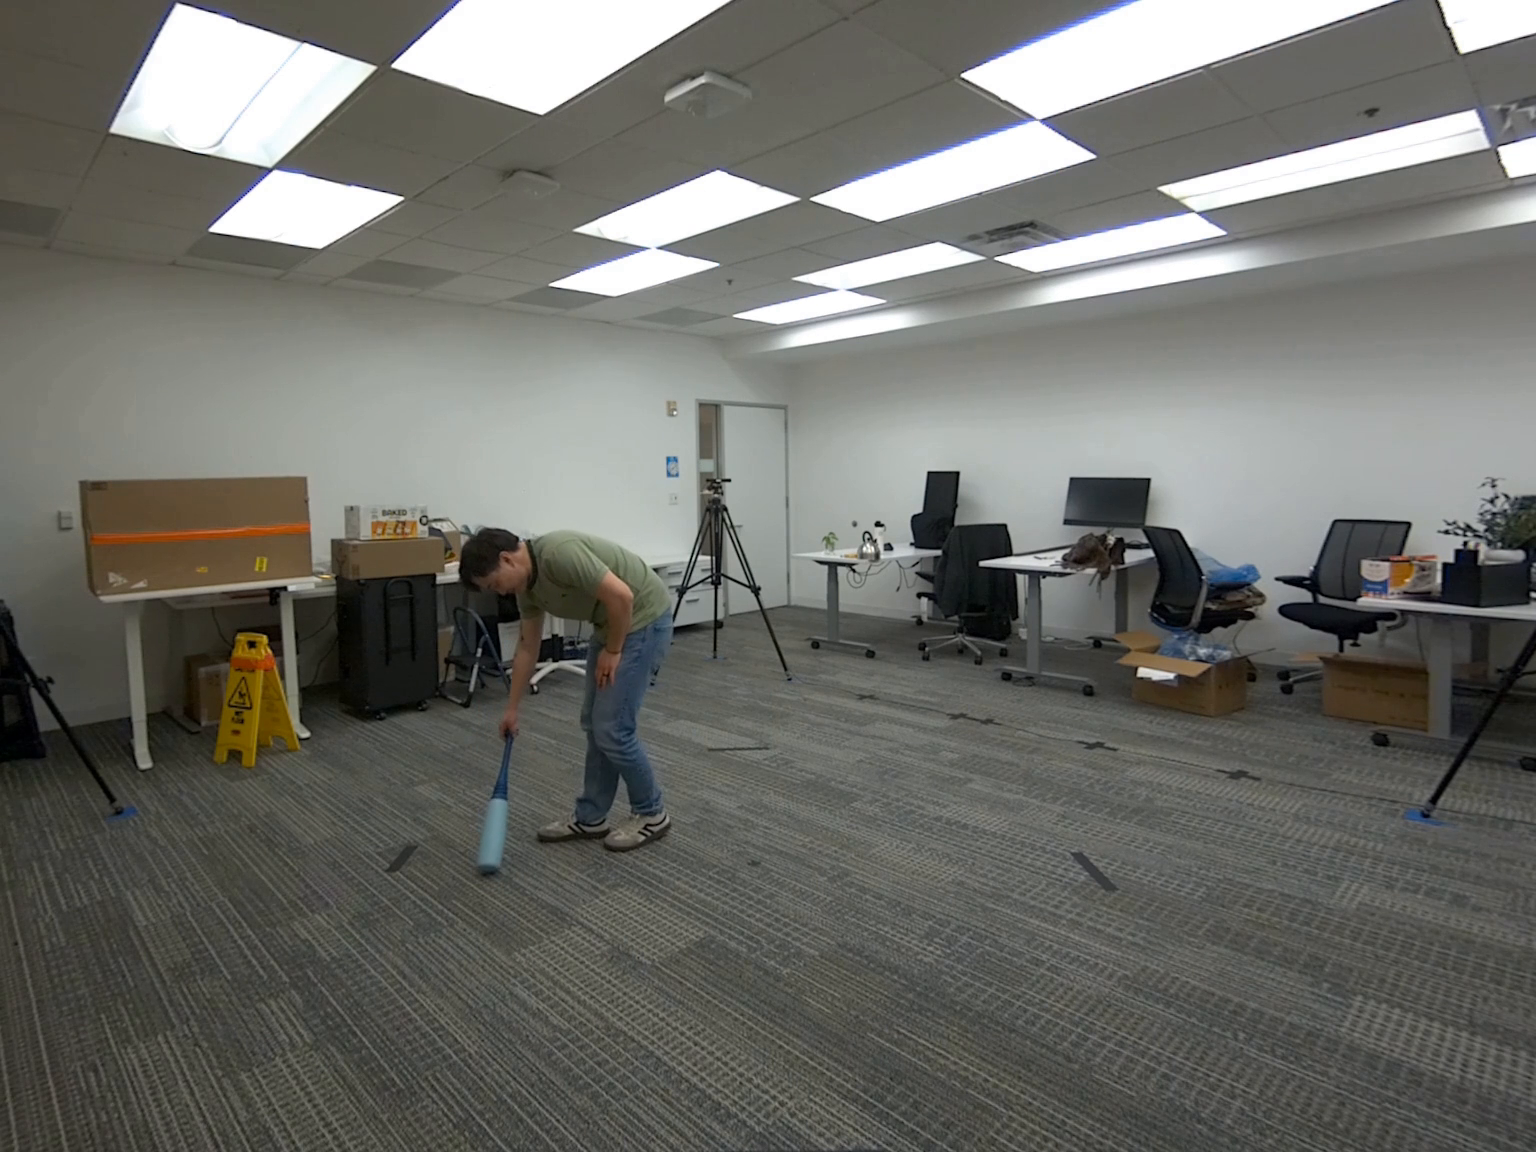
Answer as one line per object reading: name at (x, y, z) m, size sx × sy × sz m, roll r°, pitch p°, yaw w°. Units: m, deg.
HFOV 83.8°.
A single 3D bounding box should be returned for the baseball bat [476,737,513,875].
baseball bat at (-1.008, 0.831, 3.218) m, size 0.089 × 0.558 × 0.087 m, roll -2°, pitch -38°, yaw -3°
